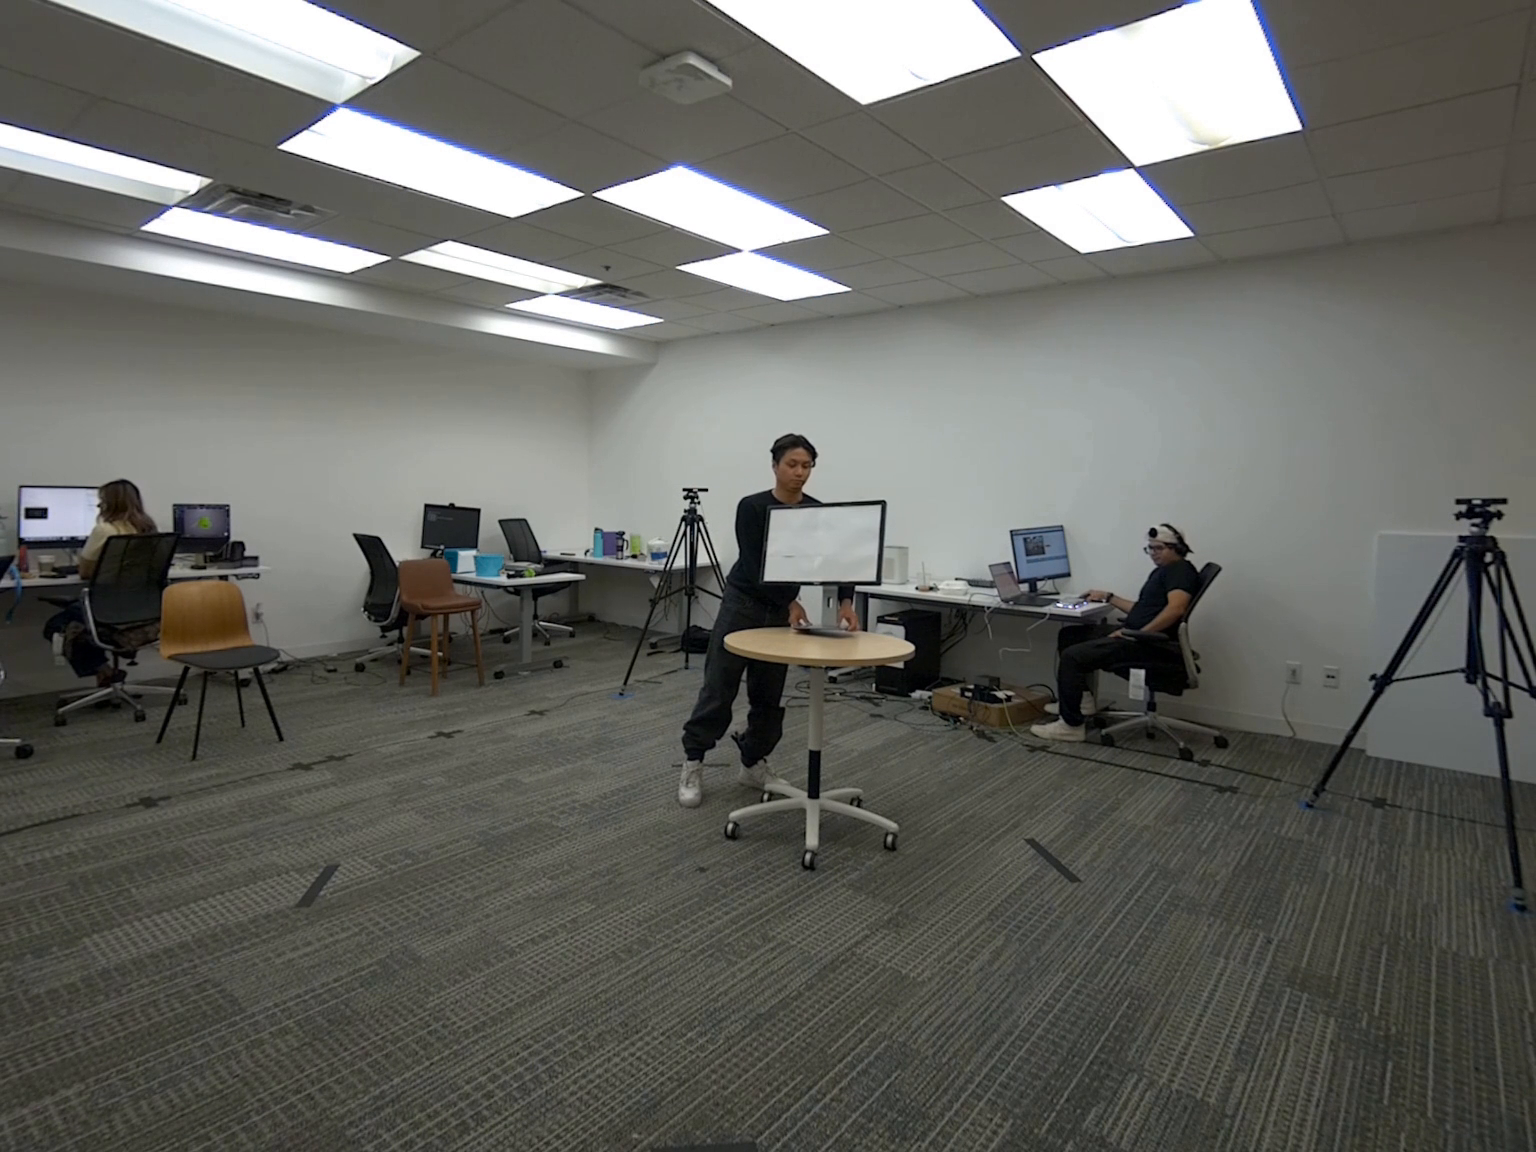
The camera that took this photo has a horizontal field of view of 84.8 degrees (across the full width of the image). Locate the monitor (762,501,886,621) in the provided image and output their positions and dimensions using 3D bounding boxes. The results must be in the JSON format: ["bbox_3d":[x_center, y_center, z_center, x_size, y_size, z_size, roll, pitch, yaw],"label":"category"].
[{"bbox_3d":[0.246,-0.049,3.678,0.553,0.524,0.182,-2,-3,28],"label":"monitor"}]
